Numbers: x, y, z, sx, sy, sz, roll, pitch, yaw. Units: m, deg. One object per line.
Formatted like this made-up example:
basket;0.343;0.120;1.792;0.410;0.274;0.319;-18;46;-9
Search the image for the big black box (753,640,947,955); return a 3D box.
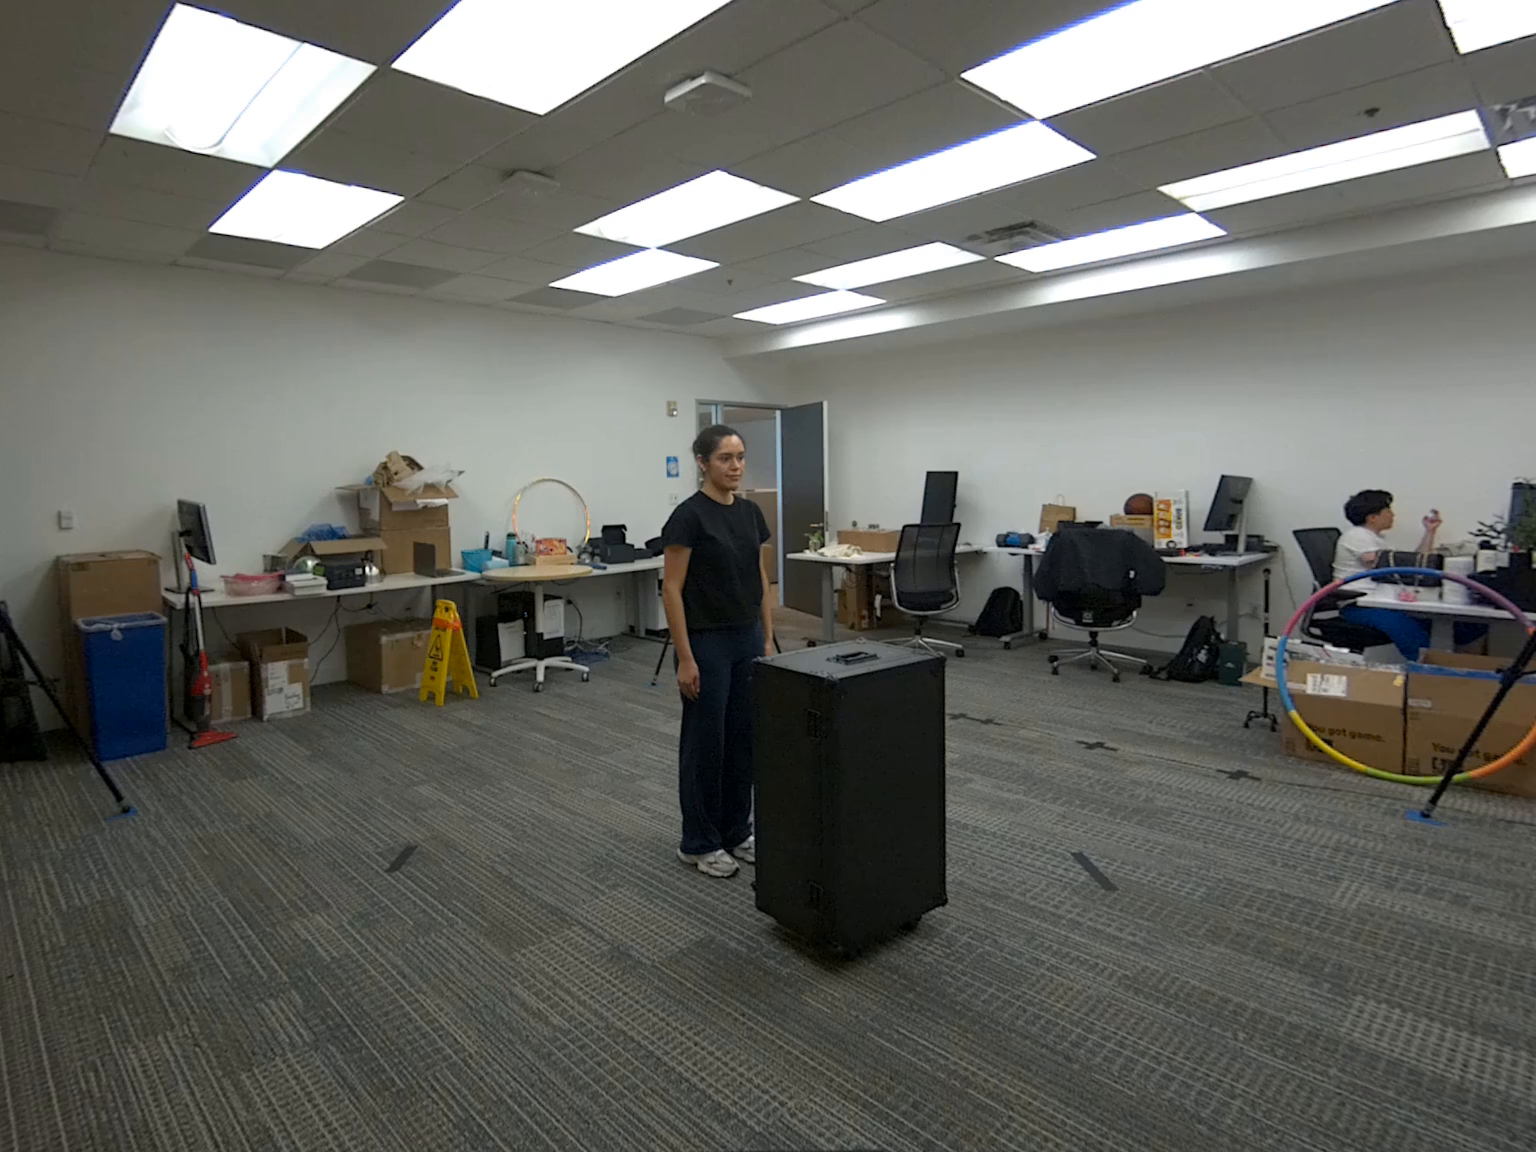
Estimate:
big black box;0.251;0.595;2.636;0.508;0.859;0.407;-5;4;-38
